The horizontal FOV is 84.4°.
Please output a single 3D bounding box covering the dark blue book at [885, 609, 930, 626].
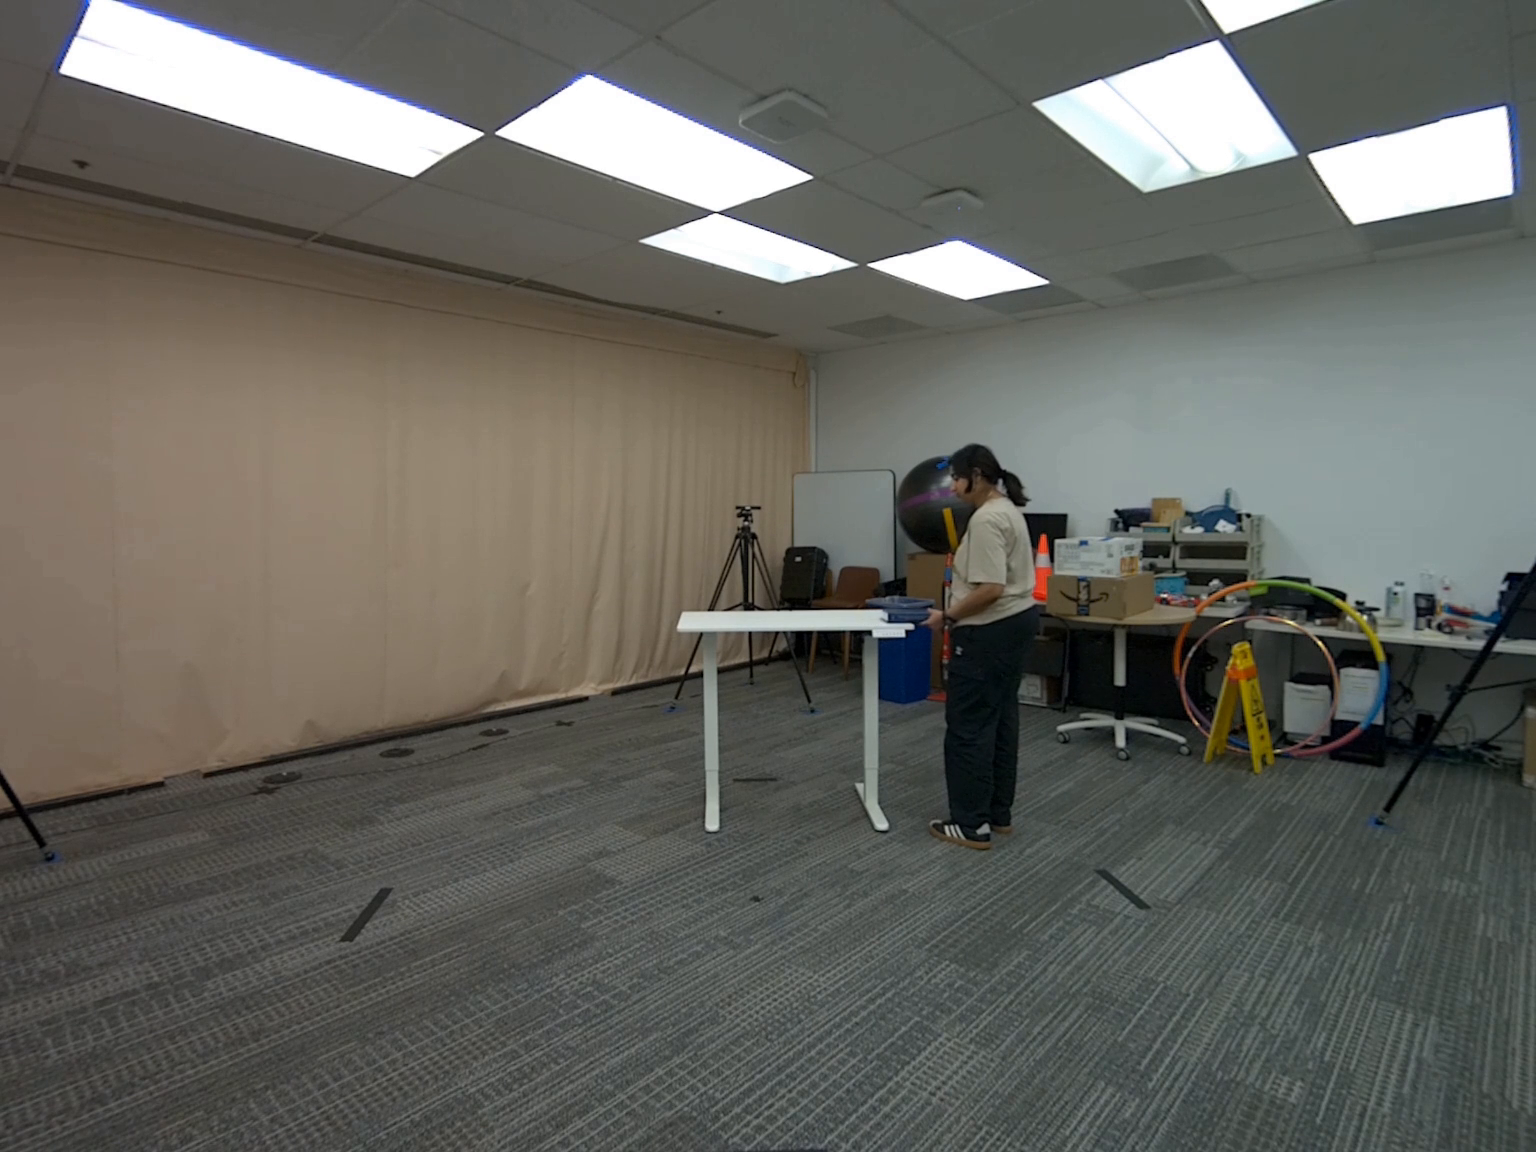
[{"bbox_3d":[0.644,0.172,3.736,0.244,0.045,0.164,1,5,-5],"label":"dark blue book"}]
